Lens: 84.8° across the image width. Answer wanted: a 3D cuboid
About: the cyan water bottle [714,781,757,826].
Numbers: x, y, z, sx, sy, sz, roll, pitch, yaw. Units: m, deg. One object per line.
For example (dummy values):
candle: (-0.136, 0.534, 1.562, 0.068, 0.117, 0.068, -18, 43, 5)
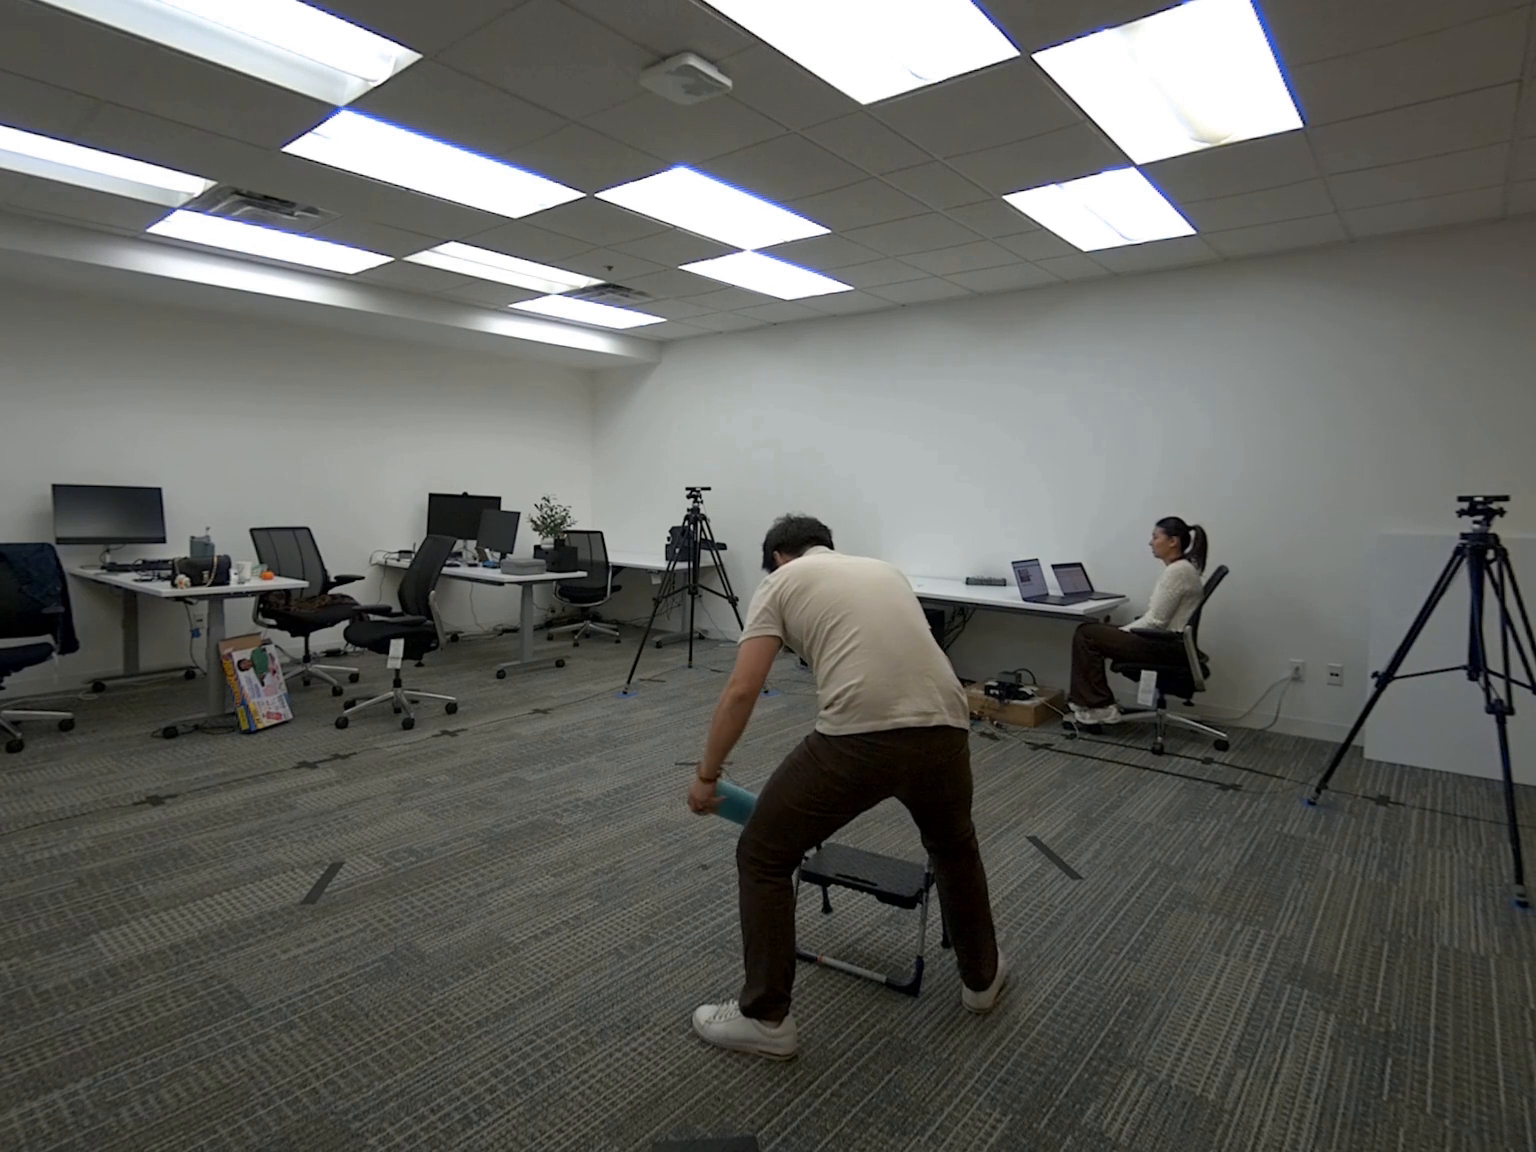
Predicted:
cyan water bottle: (-0.093, 0.606, 2.308, 0.095, 0.093, 0.272, 5, -26, 45)
